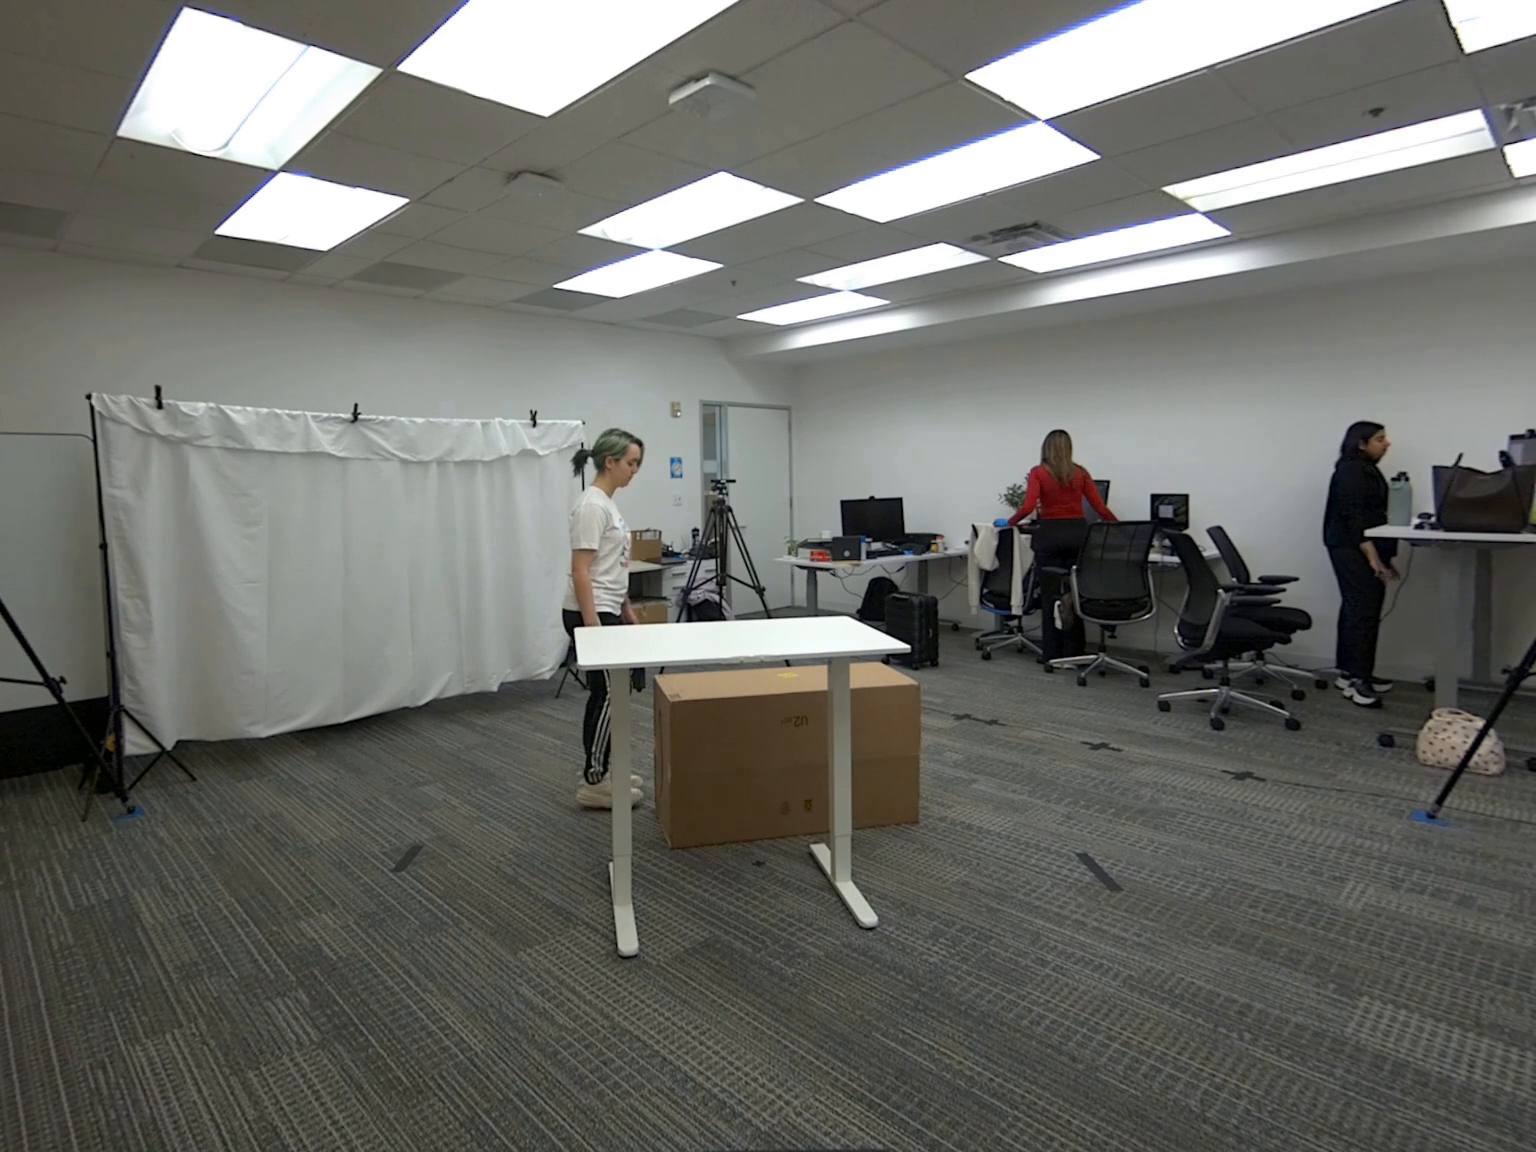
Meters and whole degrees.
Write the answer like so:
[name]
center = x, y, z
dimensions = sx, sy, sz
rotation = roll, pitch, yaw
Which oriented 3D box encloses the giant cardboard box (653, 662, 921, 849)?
[giant cardboard box]
center = 0.065, 0.707, 3.532
dimensions = 1.014, 0.582, 0.454
rotation = -2, 5, -14
